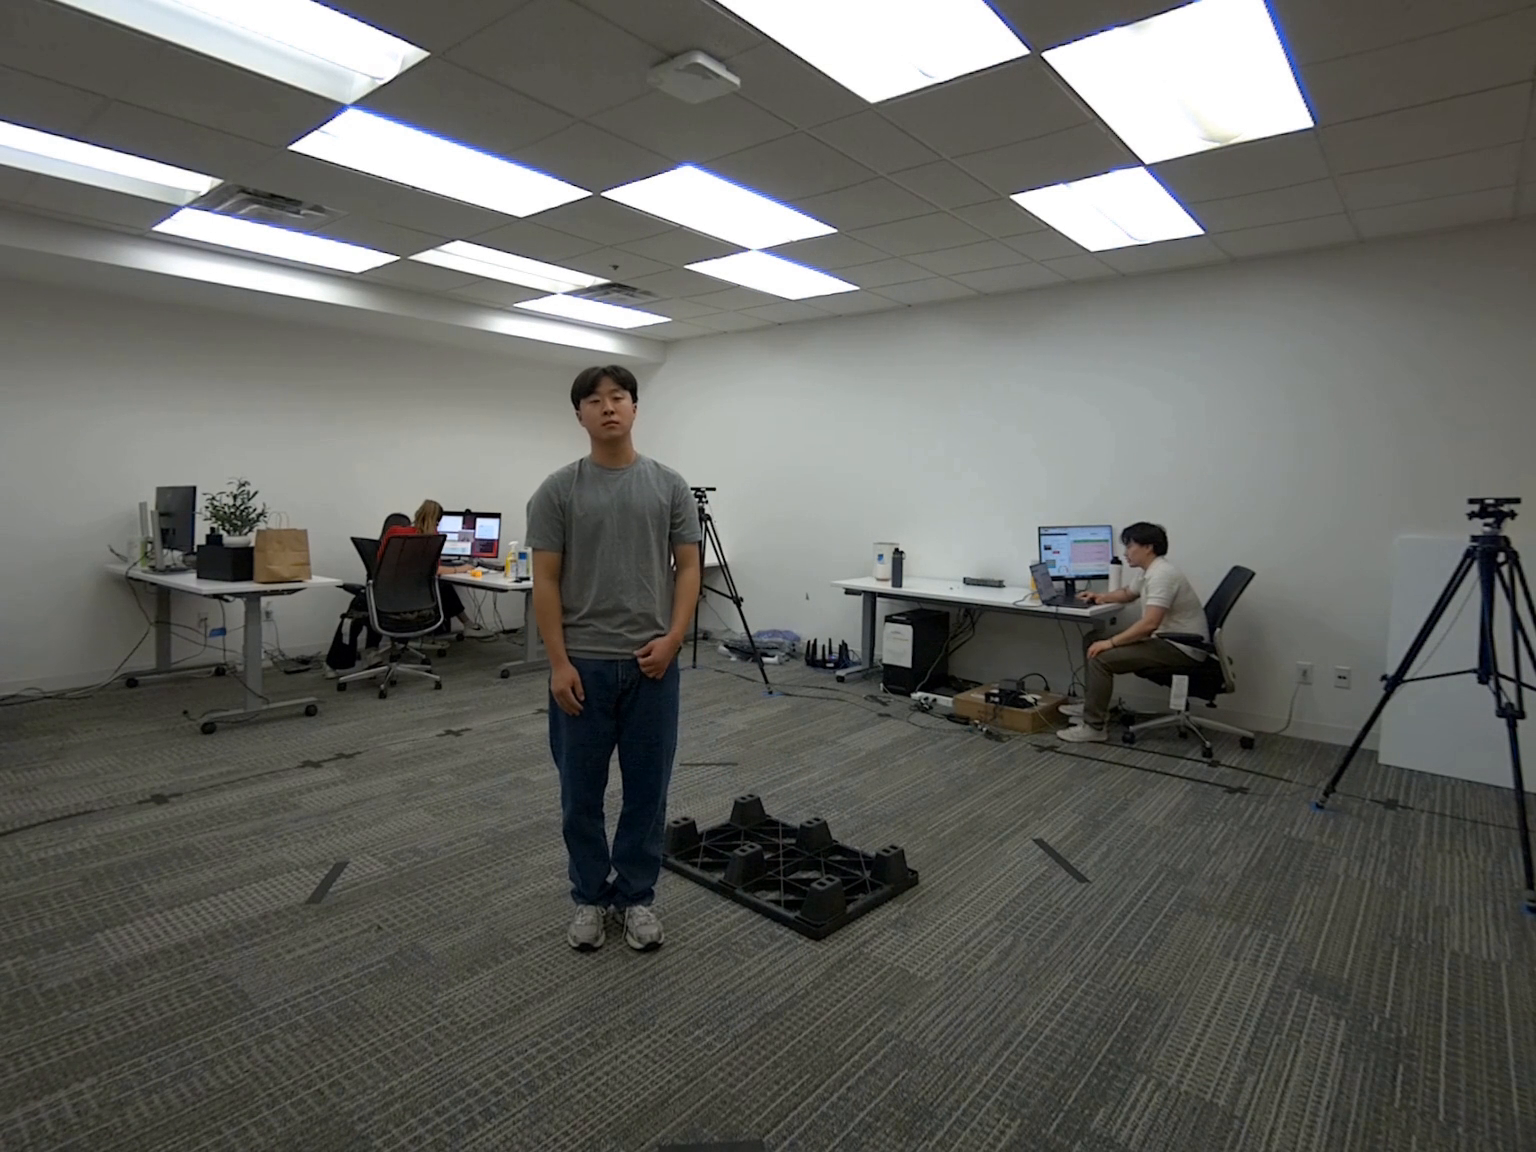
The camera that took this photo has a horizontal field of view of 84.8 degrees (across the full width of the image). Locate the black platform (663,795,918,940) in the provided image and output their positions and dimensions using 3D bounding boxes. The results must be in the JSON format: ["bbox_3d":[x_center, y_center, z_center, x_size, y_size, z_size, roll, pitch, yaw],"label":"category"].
[{"bbox_3d":[0.045,1.007,3.099,0.833,0.143,0.587,7,8,42],"label":"black platform"}]
